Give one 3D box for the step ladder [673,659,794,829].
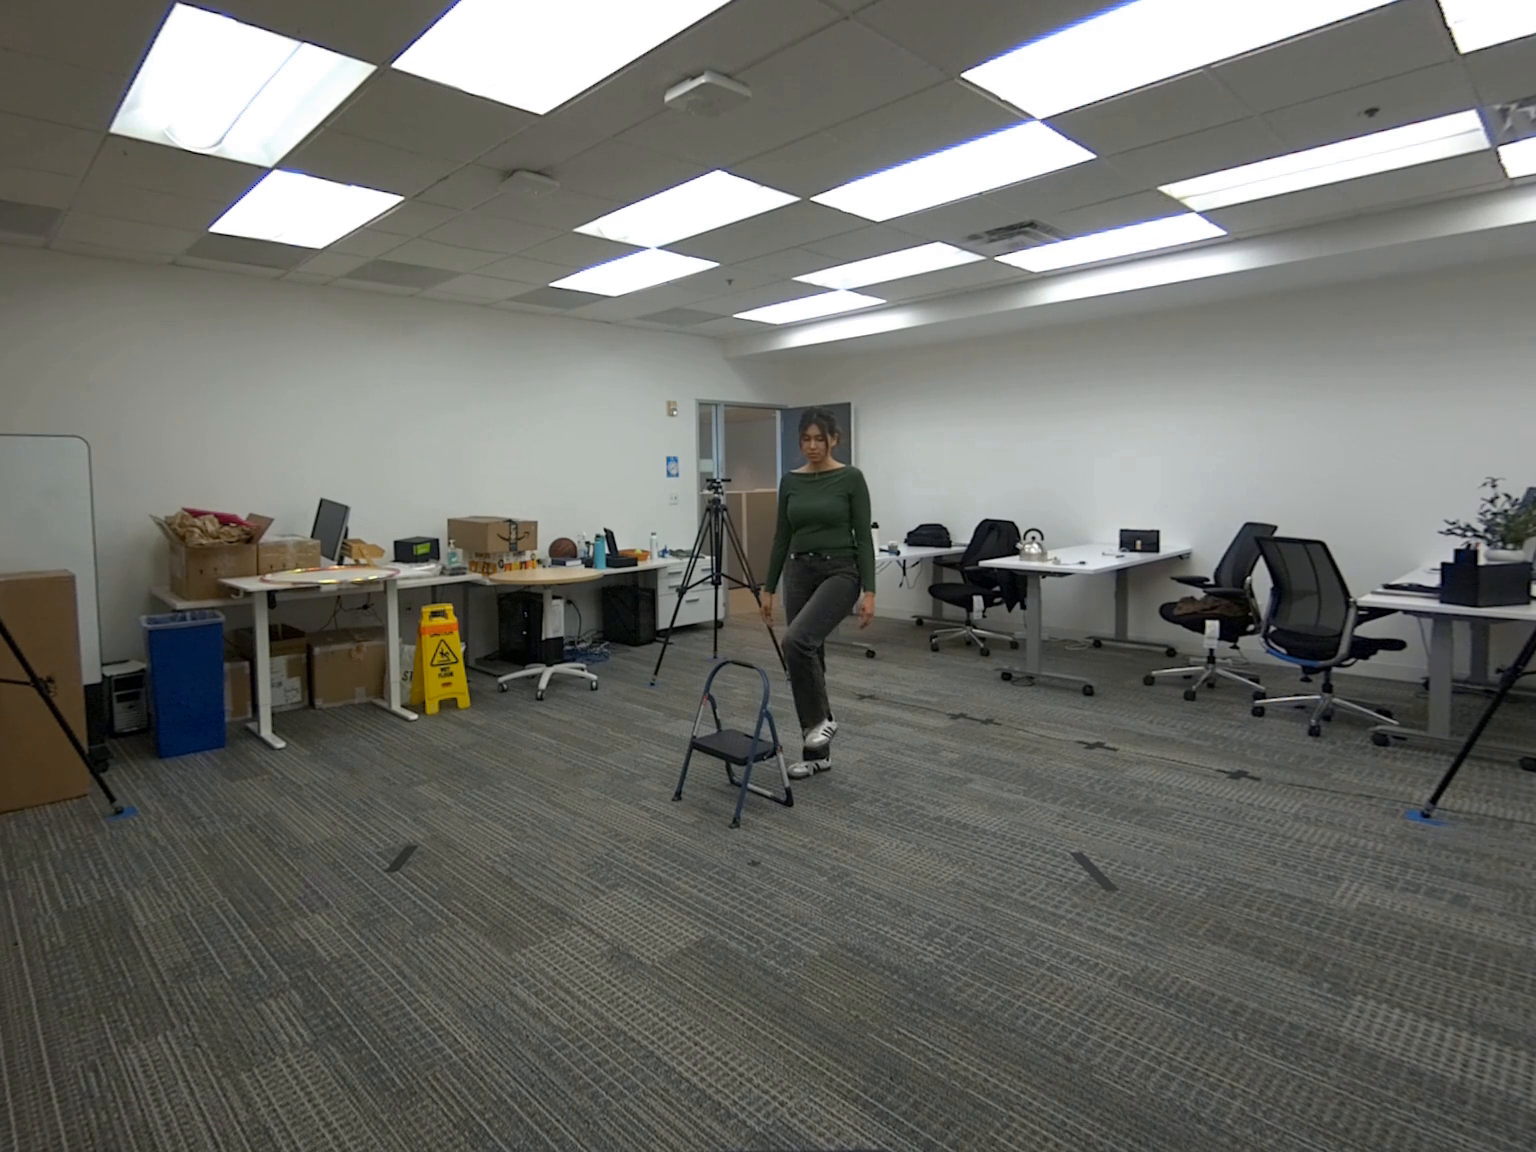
[{"bbox_3d":[-0.157,0.678,3.668,0.340,0.604,0.444,-4,5,-41],"label":"step ladder"}]
